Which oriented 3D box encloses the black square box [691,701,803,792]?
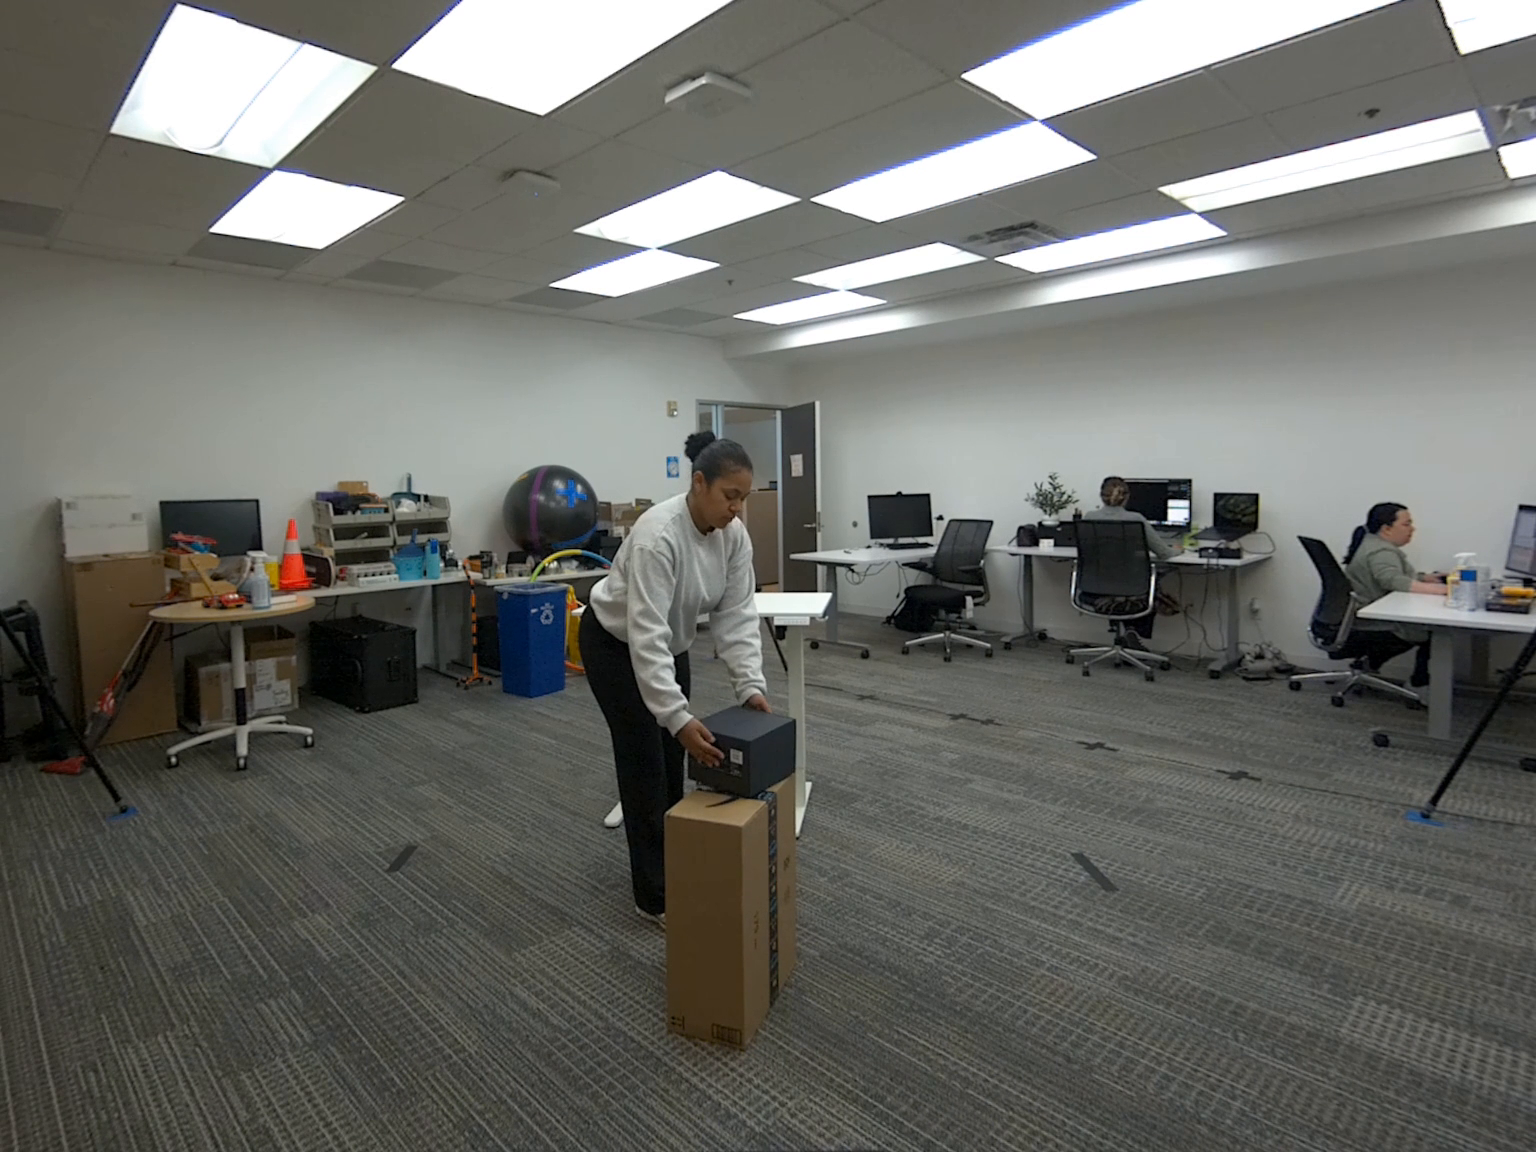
[{"bbox_3d":[-0.060,0.466,2.391,0.223,0.155,0.223,2,8,35],"label":"black square box"}]
